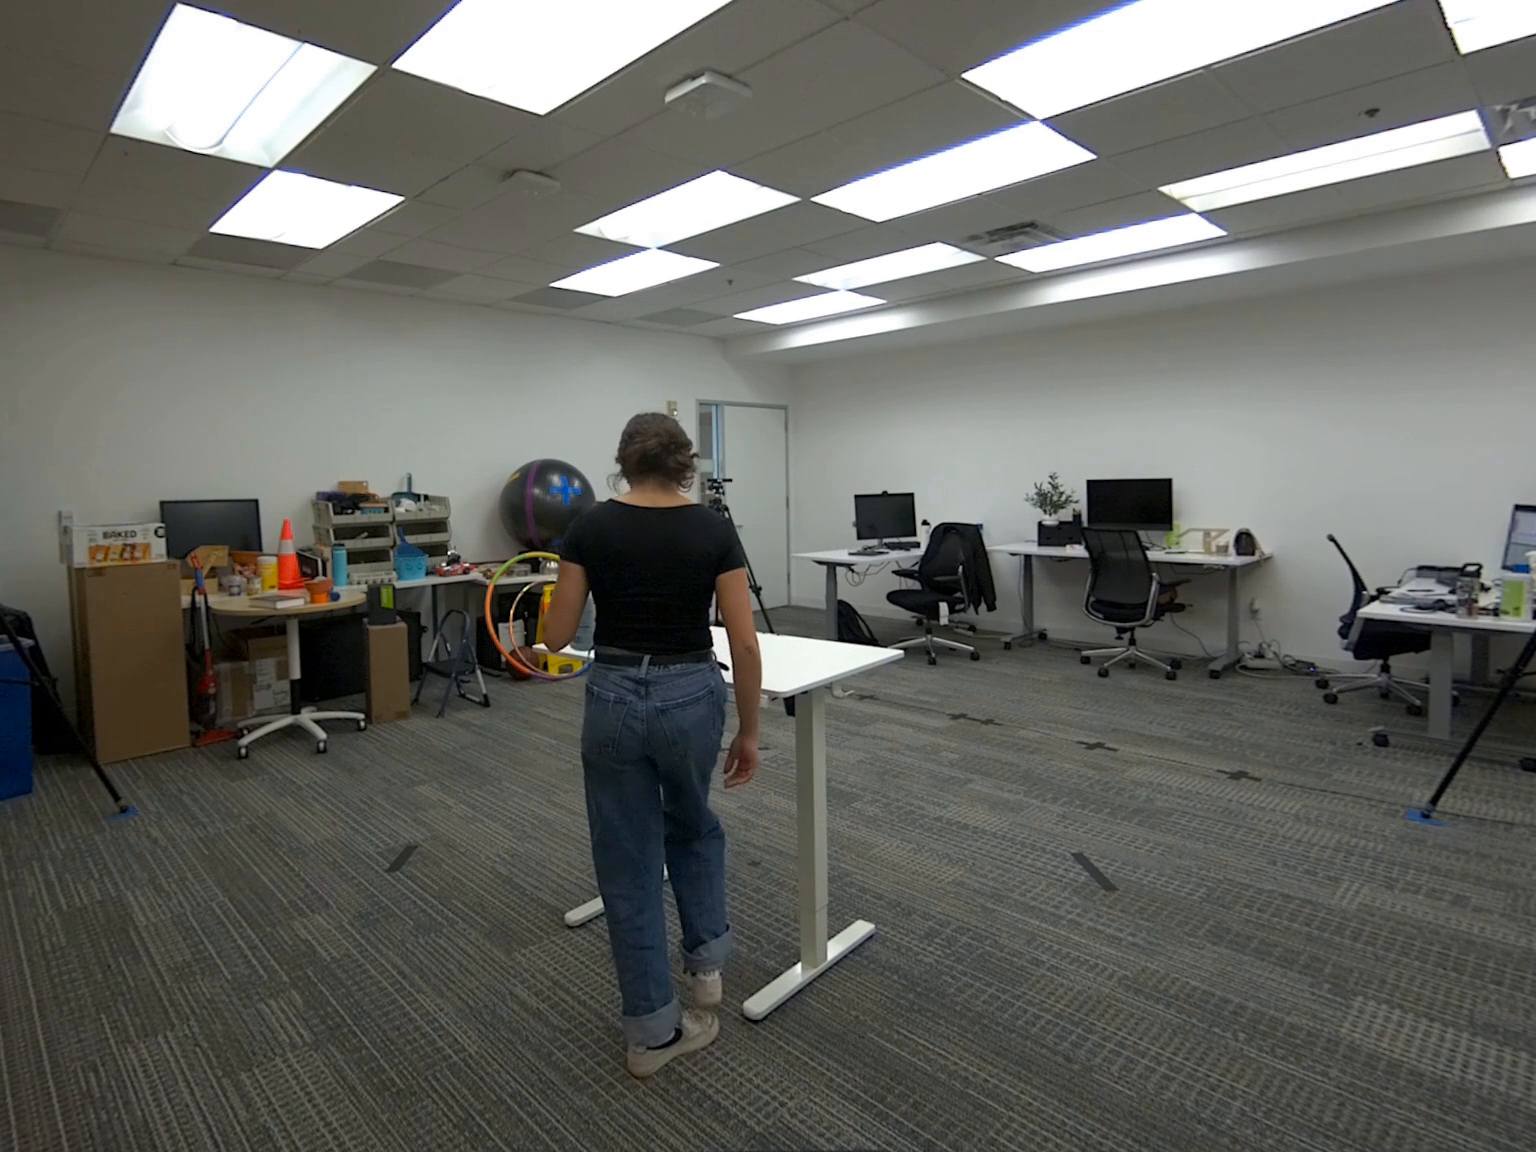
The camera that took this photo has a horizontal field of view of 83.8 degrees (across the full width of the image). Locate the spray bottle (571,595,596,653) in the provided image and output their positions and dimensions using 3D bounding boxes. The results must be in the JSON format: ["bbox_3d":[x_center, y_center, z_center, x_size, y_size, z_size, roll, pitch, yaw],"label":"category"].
[{"bbox_3d":[-0.480,0.052,2.282,0.087,0.293,0.091,2,15,-4],"label":"spray bottle"}]
